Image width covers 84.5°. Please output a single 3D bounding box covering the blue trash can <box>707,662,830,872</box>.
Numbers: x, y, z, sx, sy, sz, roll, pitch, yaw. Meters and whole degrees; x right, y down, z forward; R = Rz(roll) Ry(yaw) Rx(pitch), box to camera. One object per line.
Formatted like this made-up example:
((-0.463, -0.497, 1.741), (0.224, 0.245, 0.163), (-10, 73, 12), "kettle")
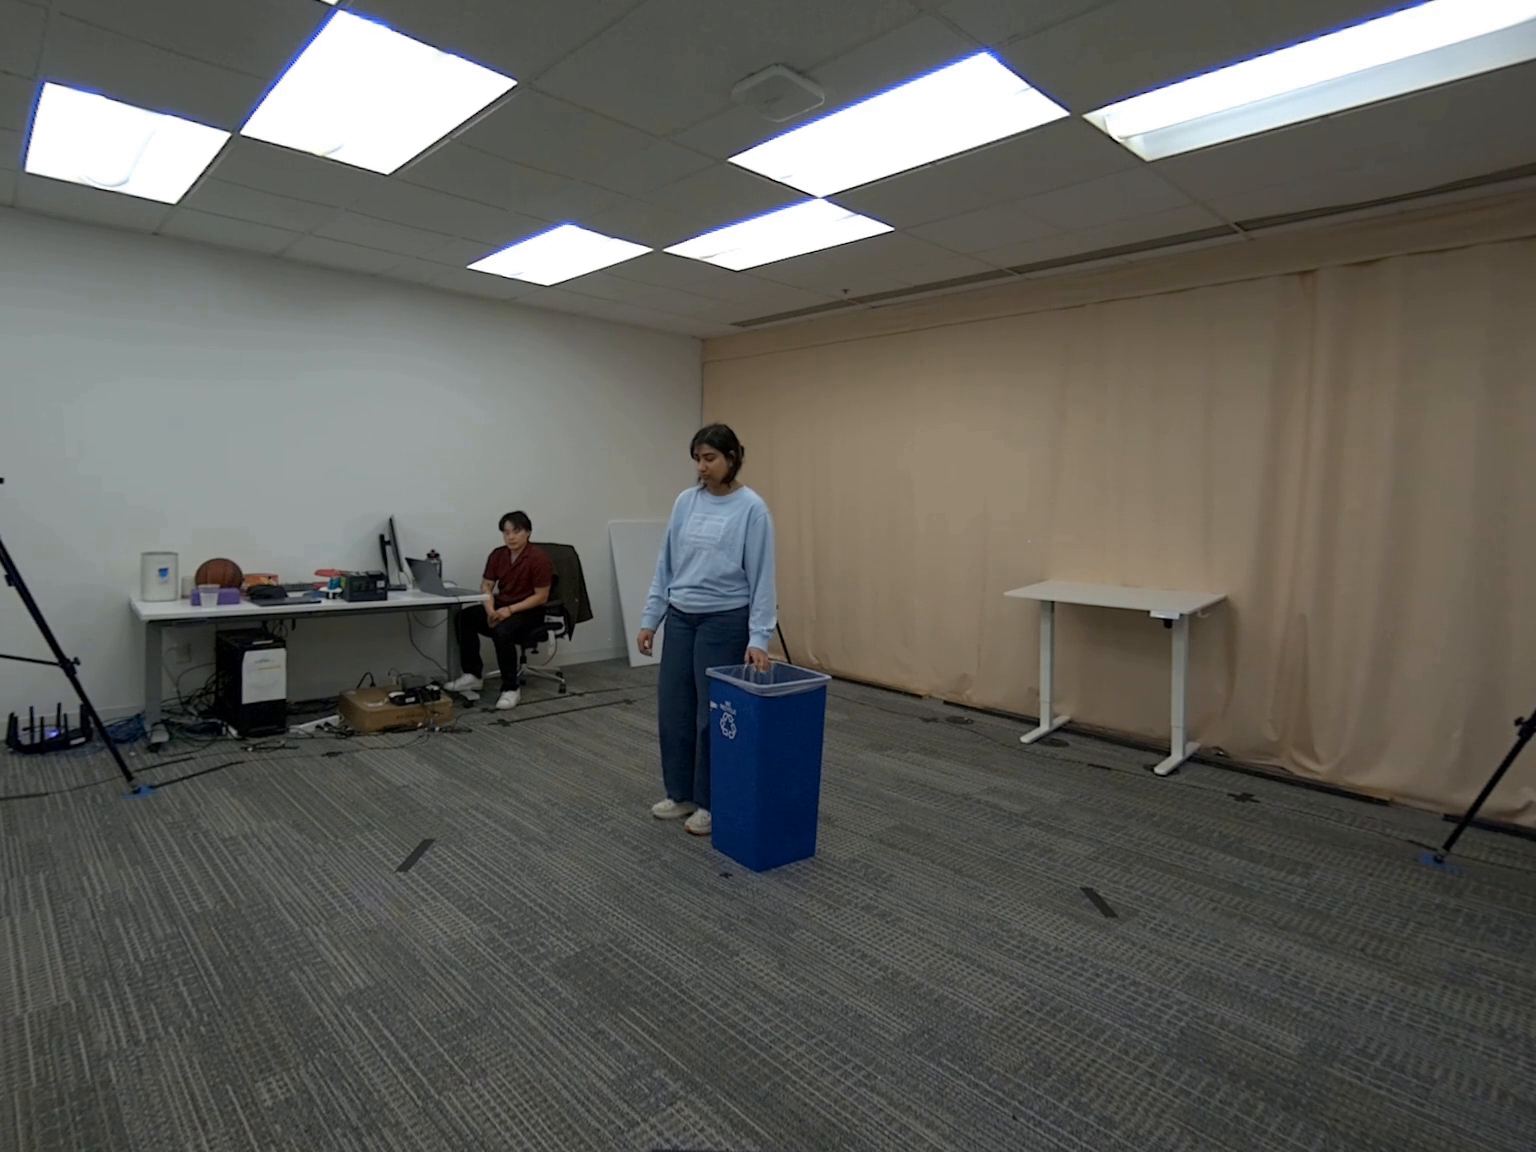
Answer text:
((-0.011, 0.730, 3.306), (0.370, 0.712, 0.383), (-2, 4, -37), "blue trash can")
